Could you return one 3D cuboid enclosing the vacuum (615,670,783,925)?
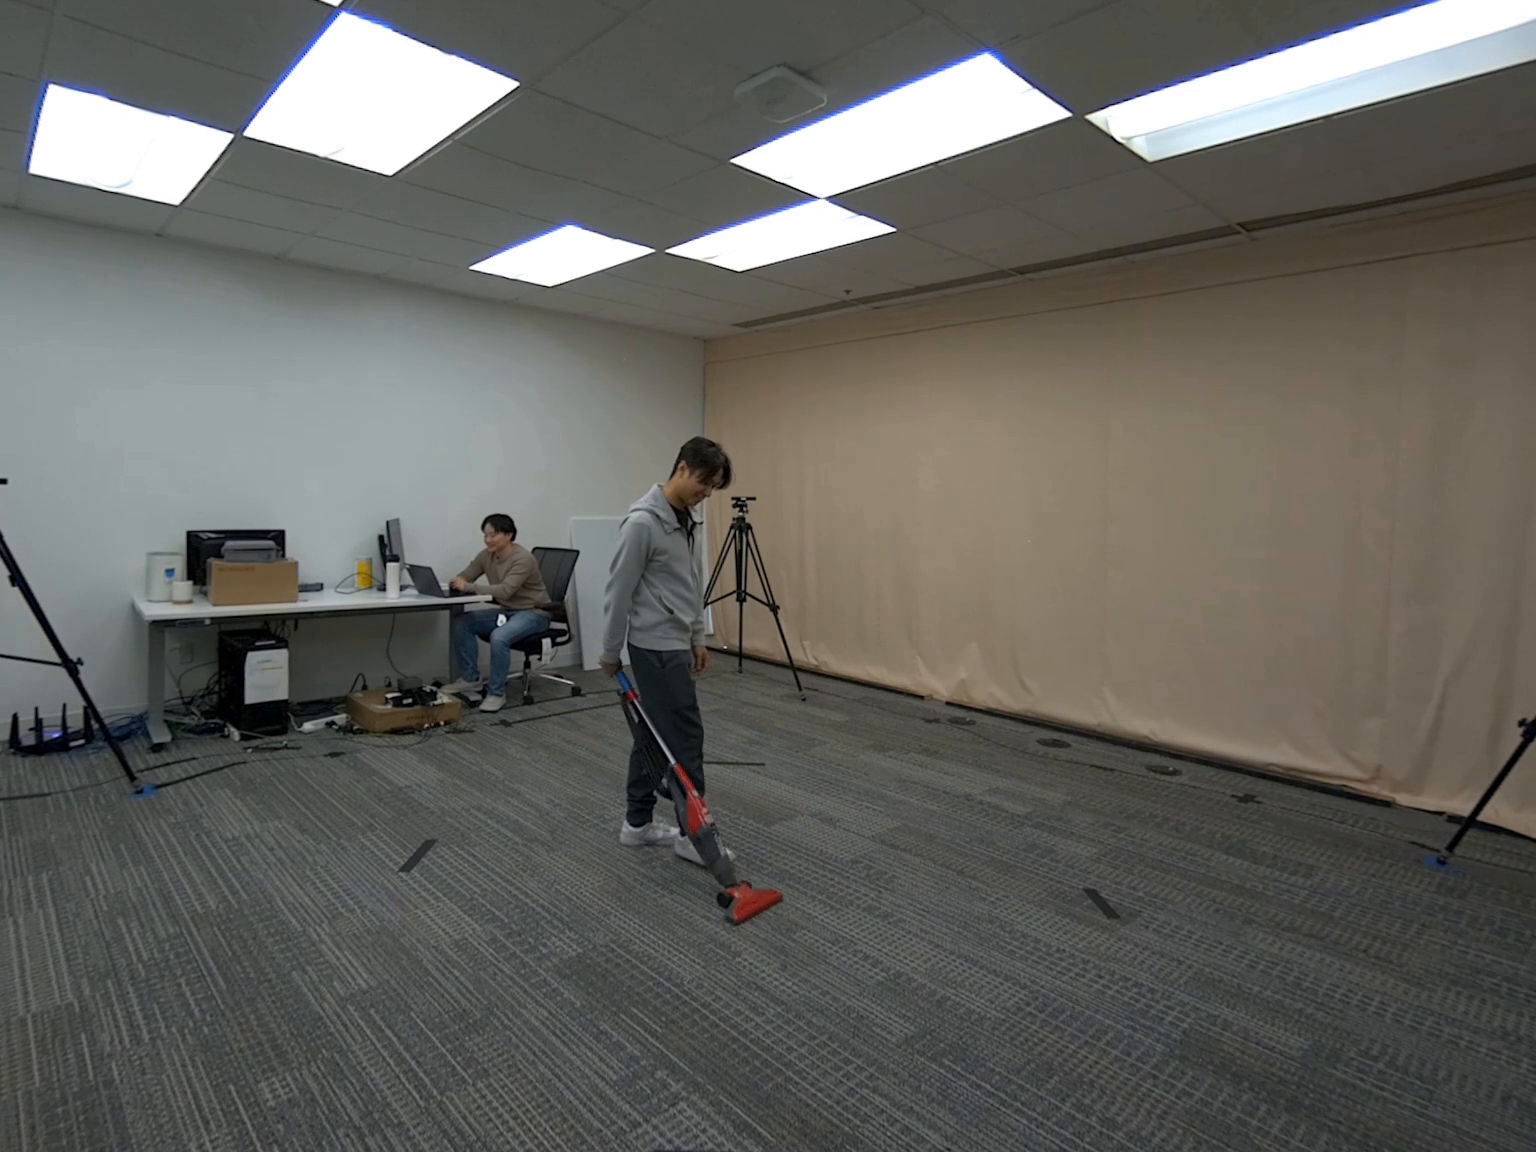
[{"bbox_3d":[-0.346,0.745,3.083,1.075,0.144,0.246,52,24,25],"label":"vacuum"}]
